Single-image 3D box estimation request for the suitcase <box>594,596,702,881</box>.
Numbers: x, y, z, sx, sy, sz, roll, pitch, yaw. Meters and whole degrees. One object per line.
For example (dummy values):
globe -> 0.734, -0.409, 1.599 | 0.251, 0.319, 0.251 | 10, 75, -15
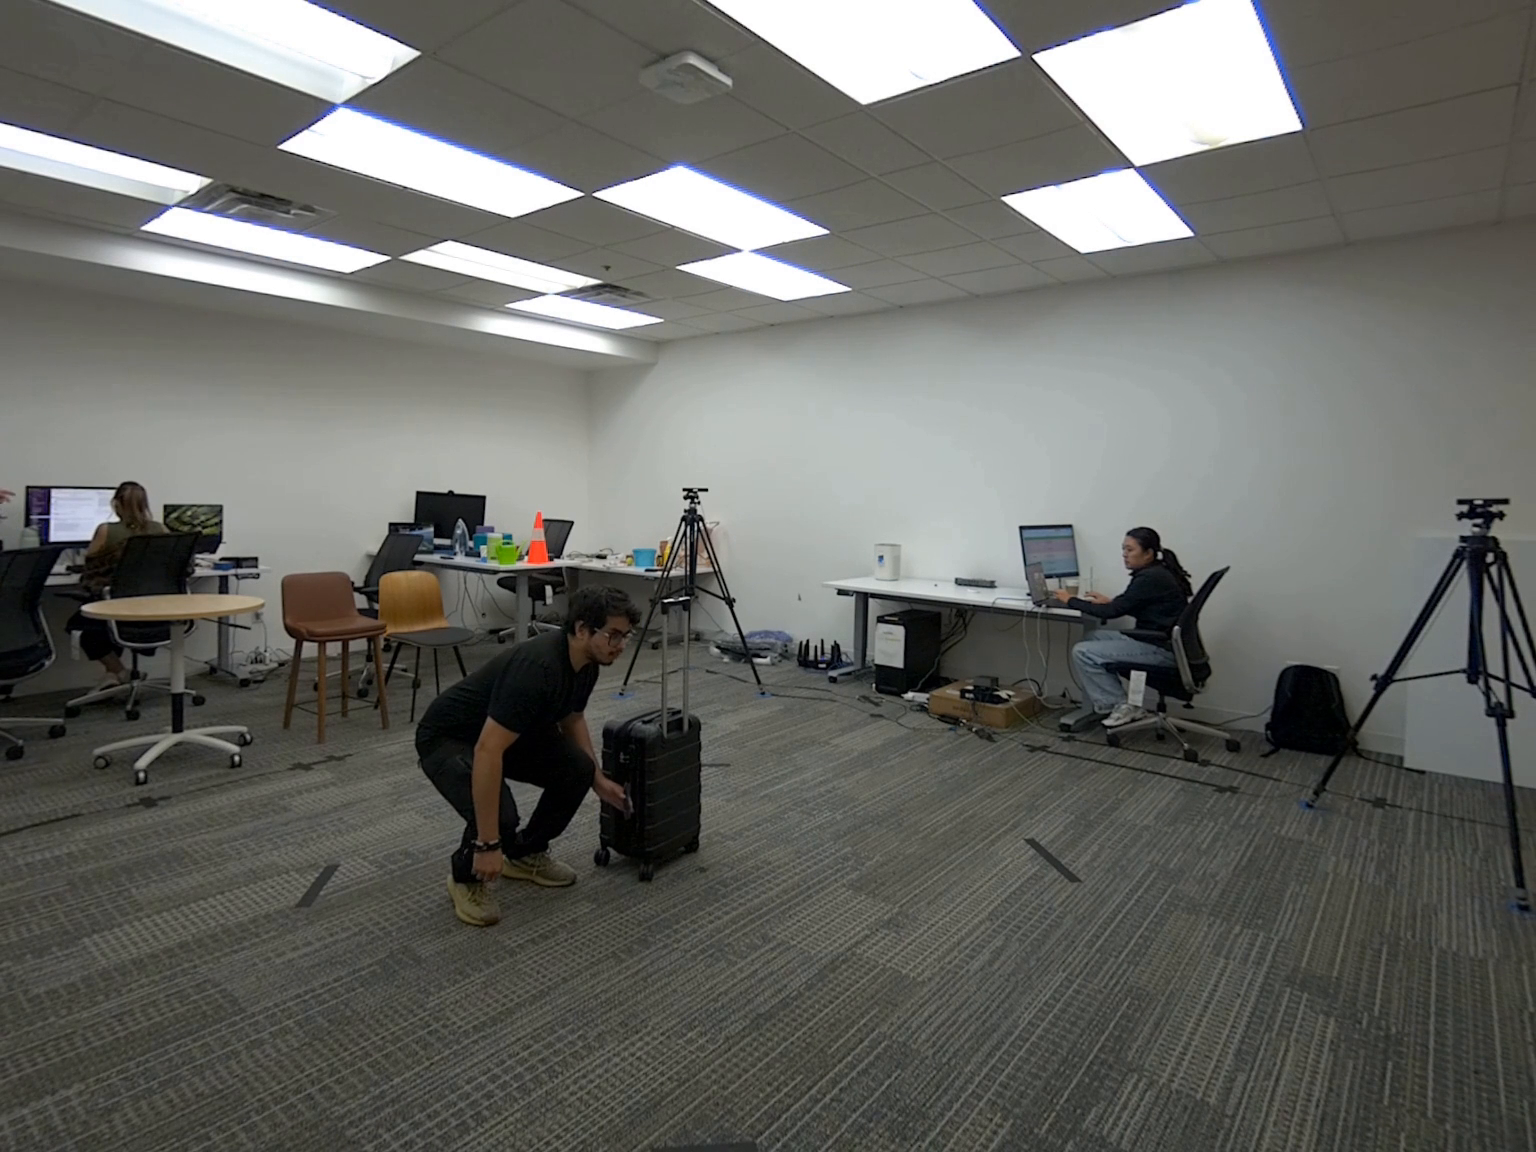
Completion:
suitcase -> -0.442, 0.579, 3.204 | 0.264, 0.978, 0.373 | 1, 1, 30
